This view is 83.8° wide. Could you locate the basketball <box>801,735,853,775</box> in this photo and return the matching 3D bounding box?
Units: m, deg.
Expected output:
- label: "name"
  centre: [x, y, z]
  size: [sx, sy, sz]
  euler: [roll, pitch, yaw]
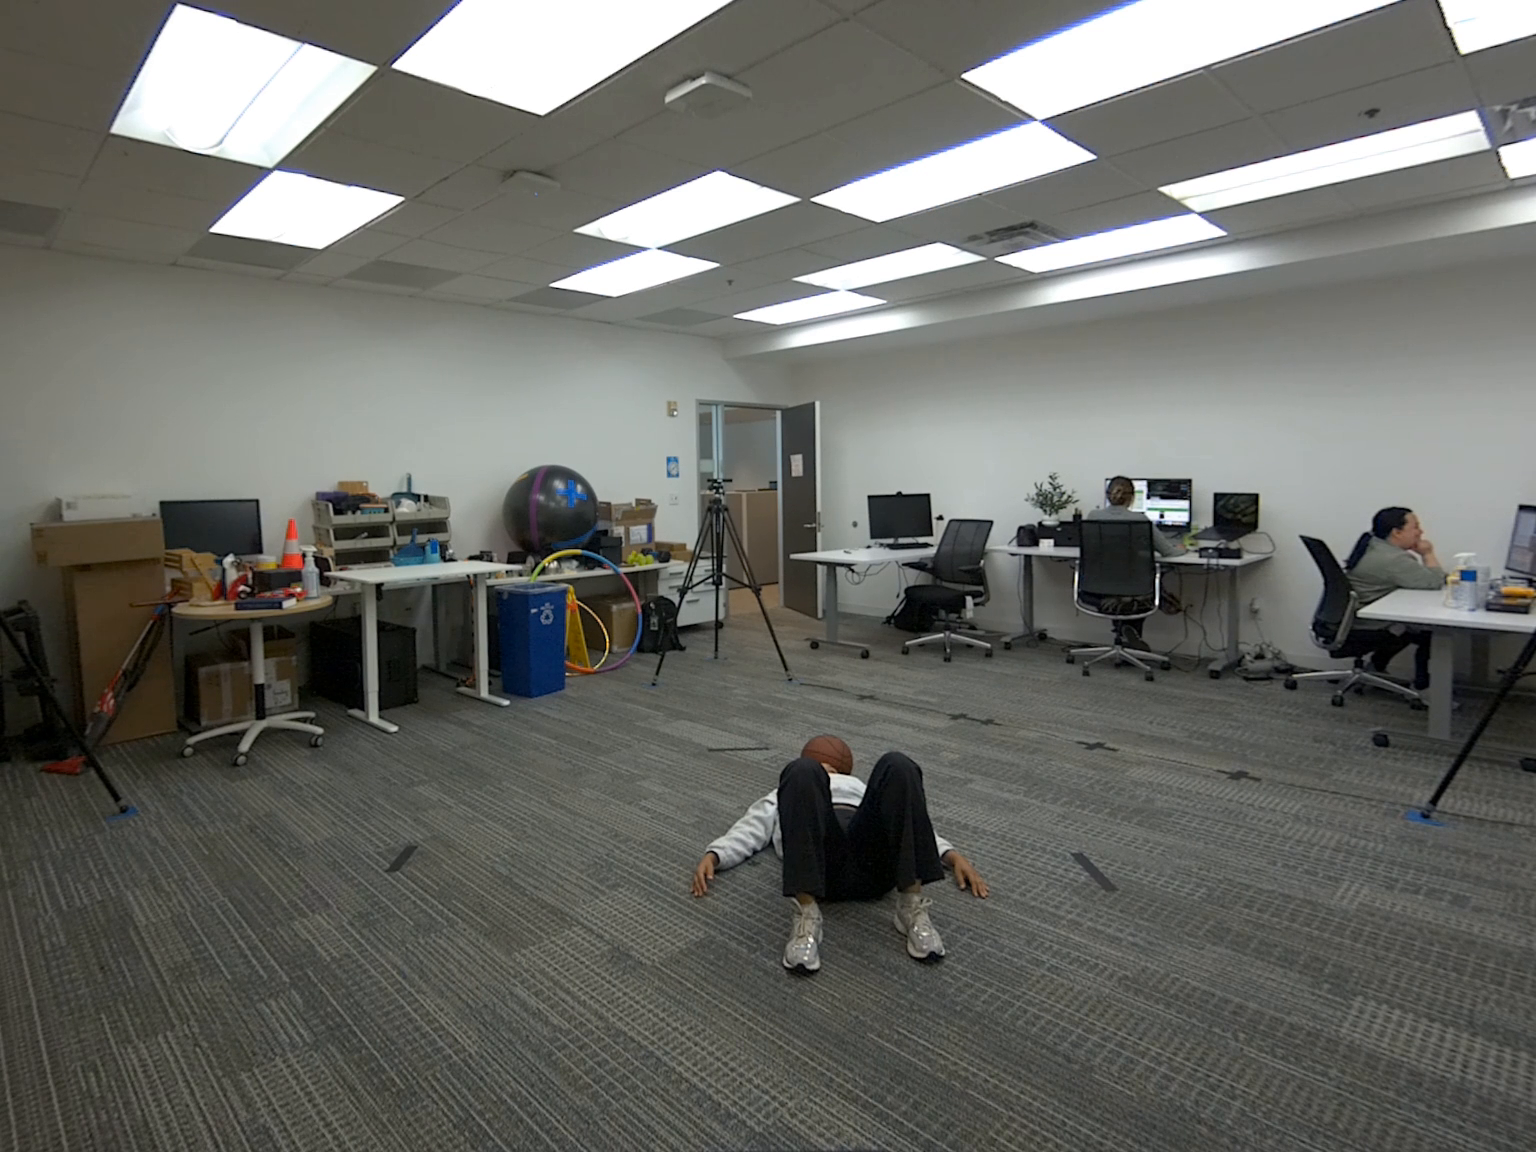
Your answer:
- label: "basketball"
  centre: [0.266, 0.843, 3.857]
  size: [0.236, 0.235, 0.237]
  euler: [-1, 5, -2]
